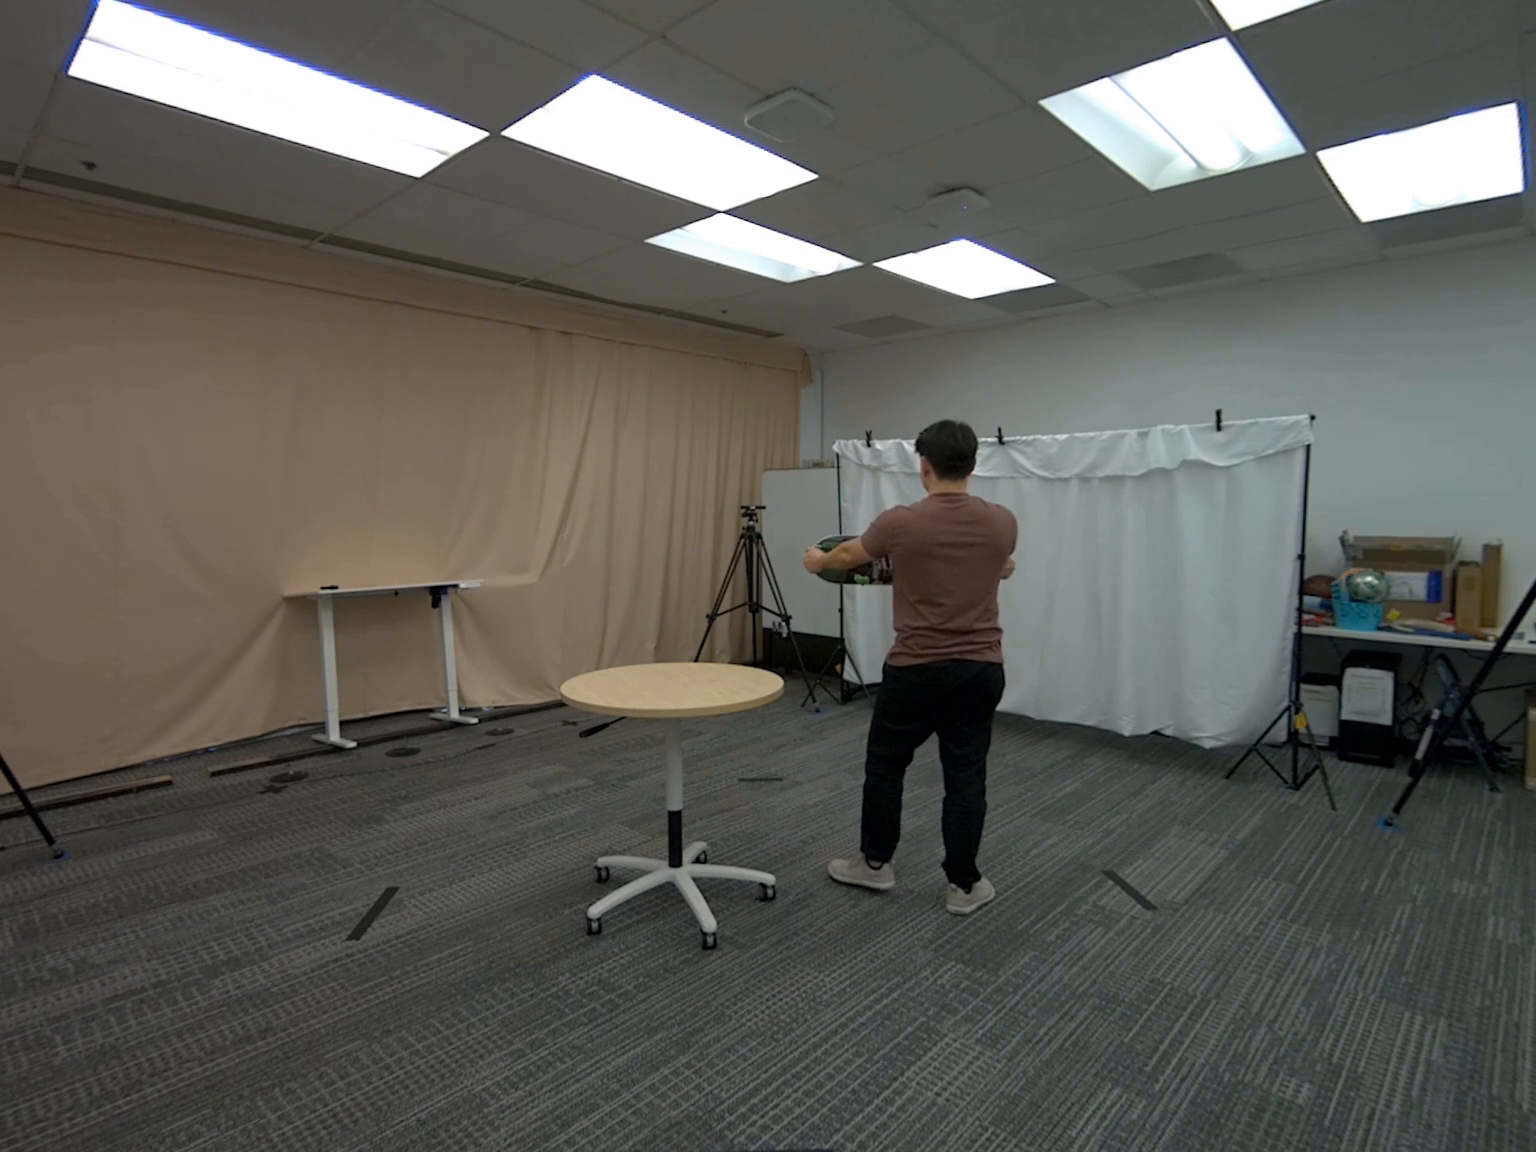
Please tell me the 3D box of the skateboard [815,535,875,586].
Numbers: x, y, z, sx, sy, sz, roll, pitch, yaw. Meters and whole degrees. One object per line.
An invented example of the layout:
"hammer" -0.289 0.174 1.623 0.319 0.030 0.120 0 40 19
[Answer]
"skateboard" 0.565 -0.054 3.293 0.783 0.193 0.111 1 2 -2
